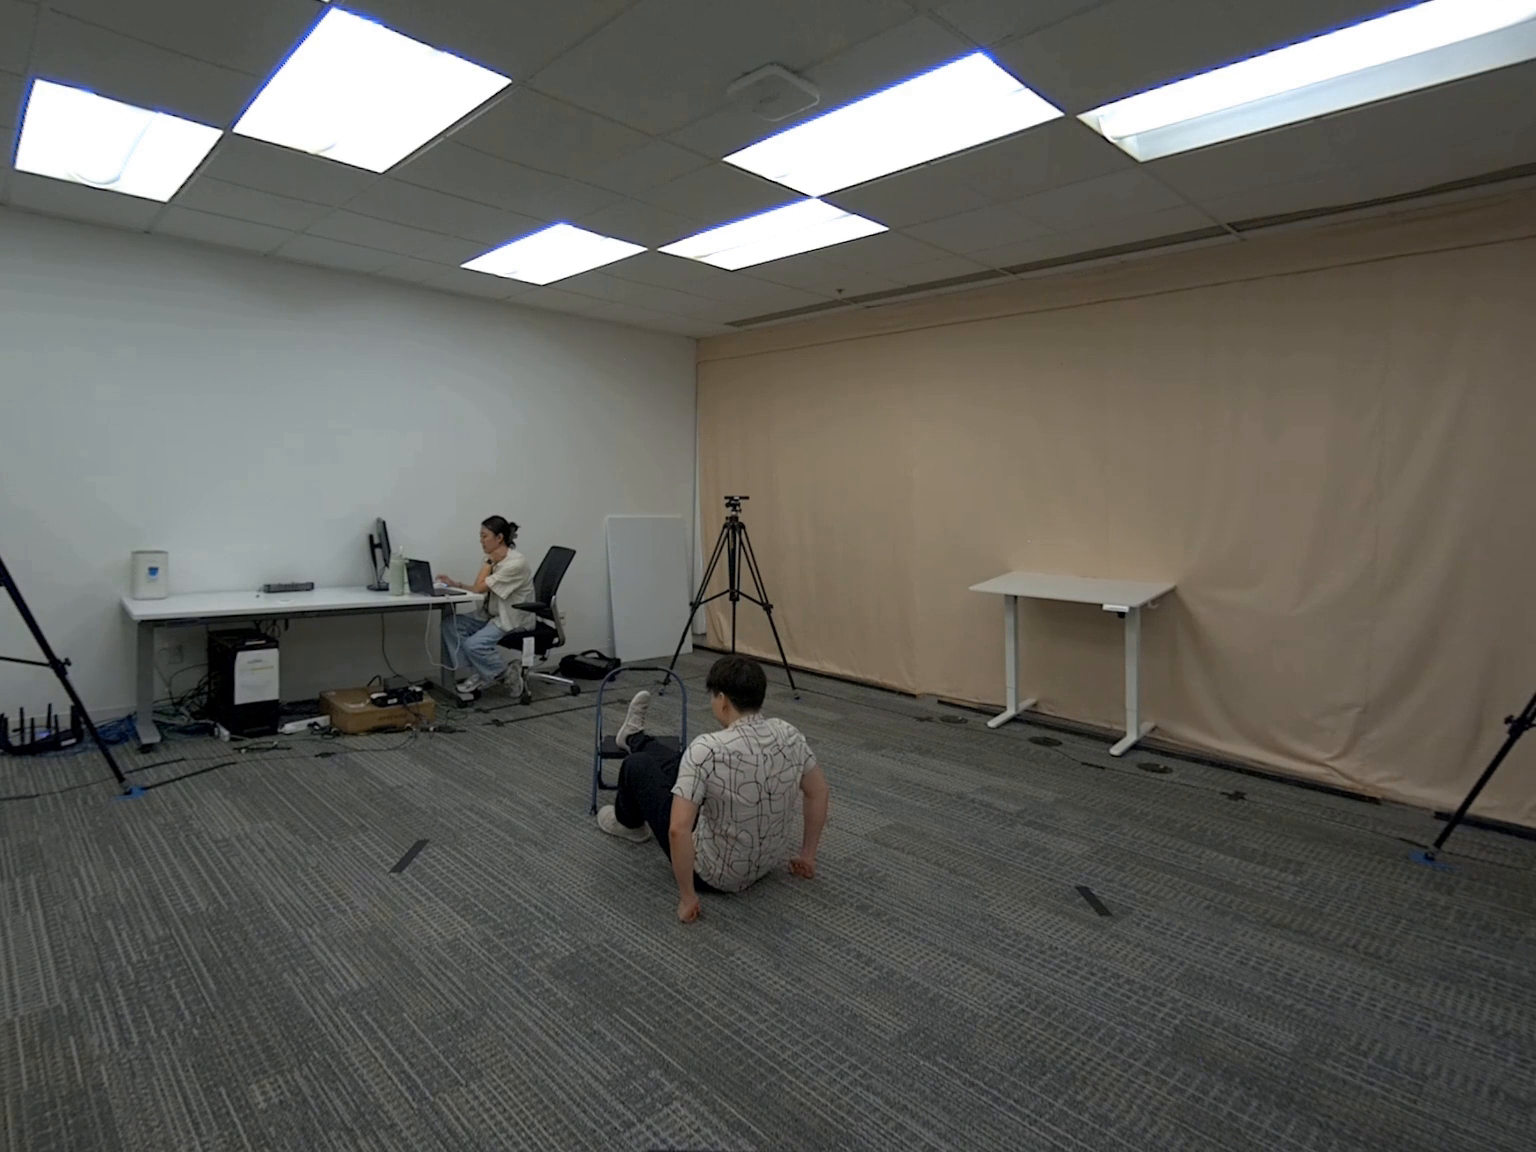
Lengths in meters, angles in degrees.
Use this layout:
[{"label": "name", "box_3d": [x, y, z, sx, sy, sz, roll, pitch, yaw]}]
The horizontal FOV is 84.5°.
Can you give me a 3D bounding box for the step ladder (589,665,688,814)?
[{"label": "step ladder", "box_3d": [-0.587, 0.732, 3.839, 0.429, 0.604, 0.352, 1, 4, -6]}]
